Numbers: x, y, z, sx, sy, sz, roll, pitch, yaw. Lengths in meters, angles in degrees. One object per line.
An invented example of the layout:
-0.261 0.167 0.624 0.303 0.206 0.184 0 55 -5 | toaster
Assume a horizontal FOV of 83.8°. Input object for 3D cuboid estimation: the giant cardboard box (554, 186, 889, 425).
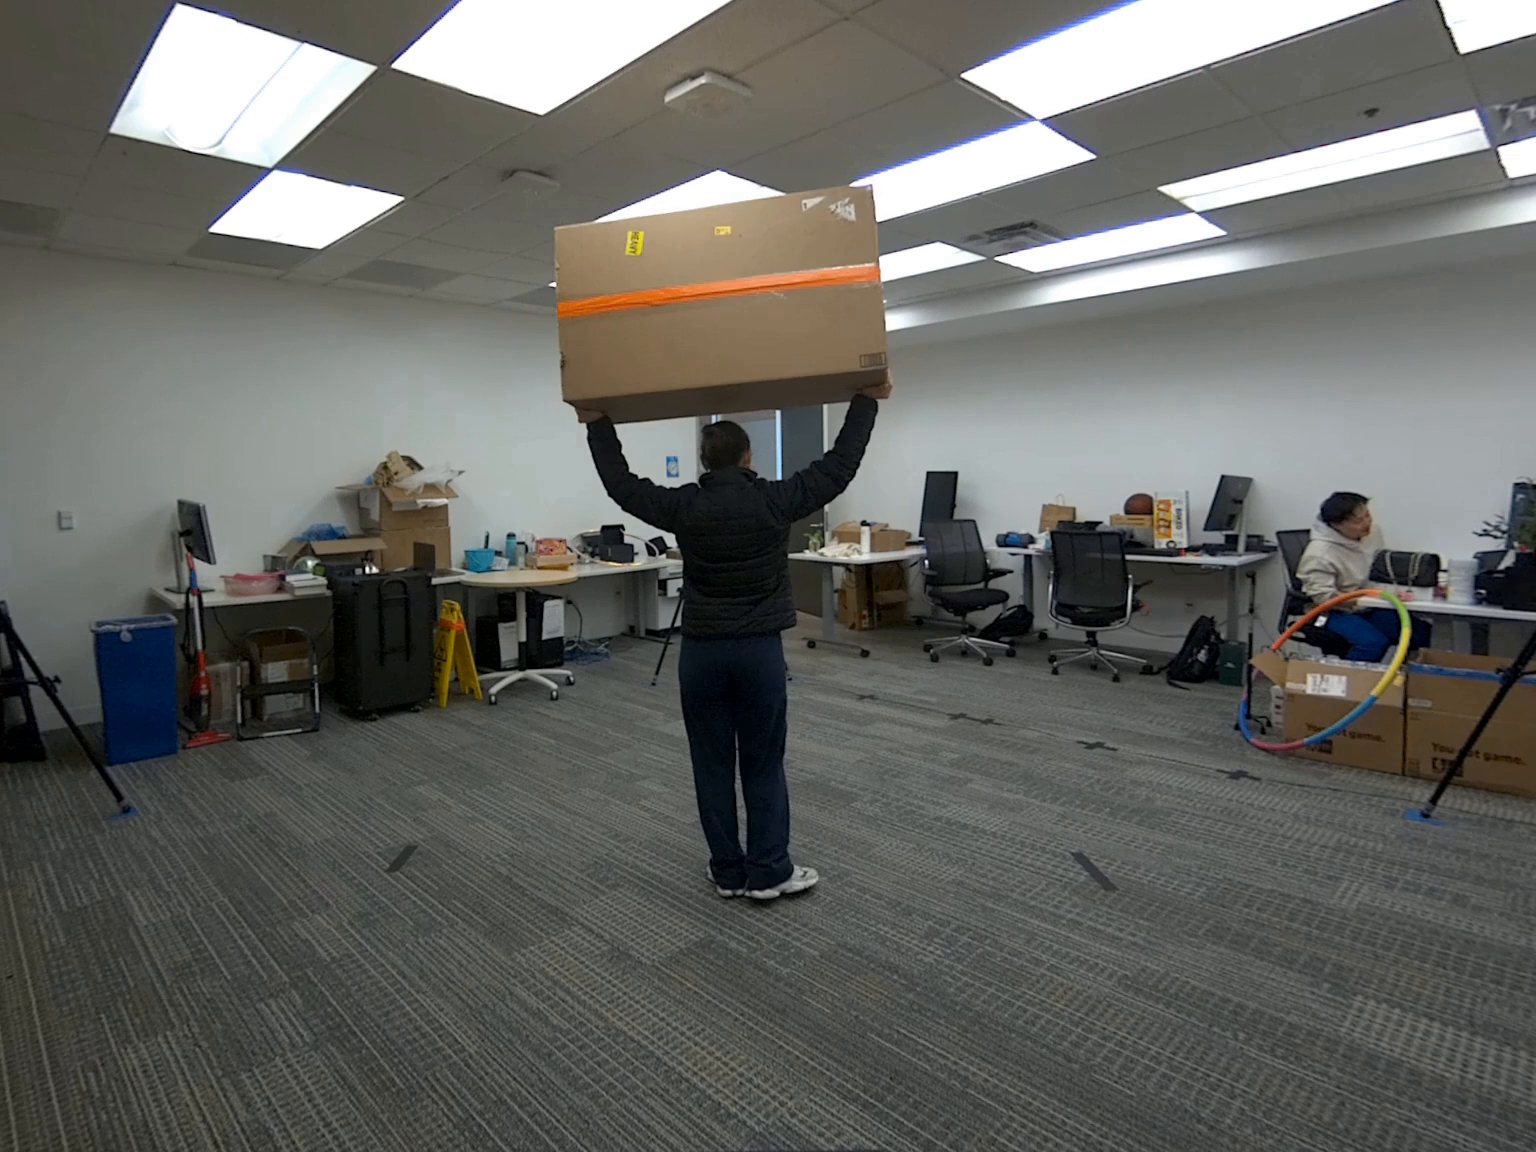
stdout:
-0.143 -0.860 2.855 1.035 0.586 0.442 -4 -3 8 | giant cardboard box
